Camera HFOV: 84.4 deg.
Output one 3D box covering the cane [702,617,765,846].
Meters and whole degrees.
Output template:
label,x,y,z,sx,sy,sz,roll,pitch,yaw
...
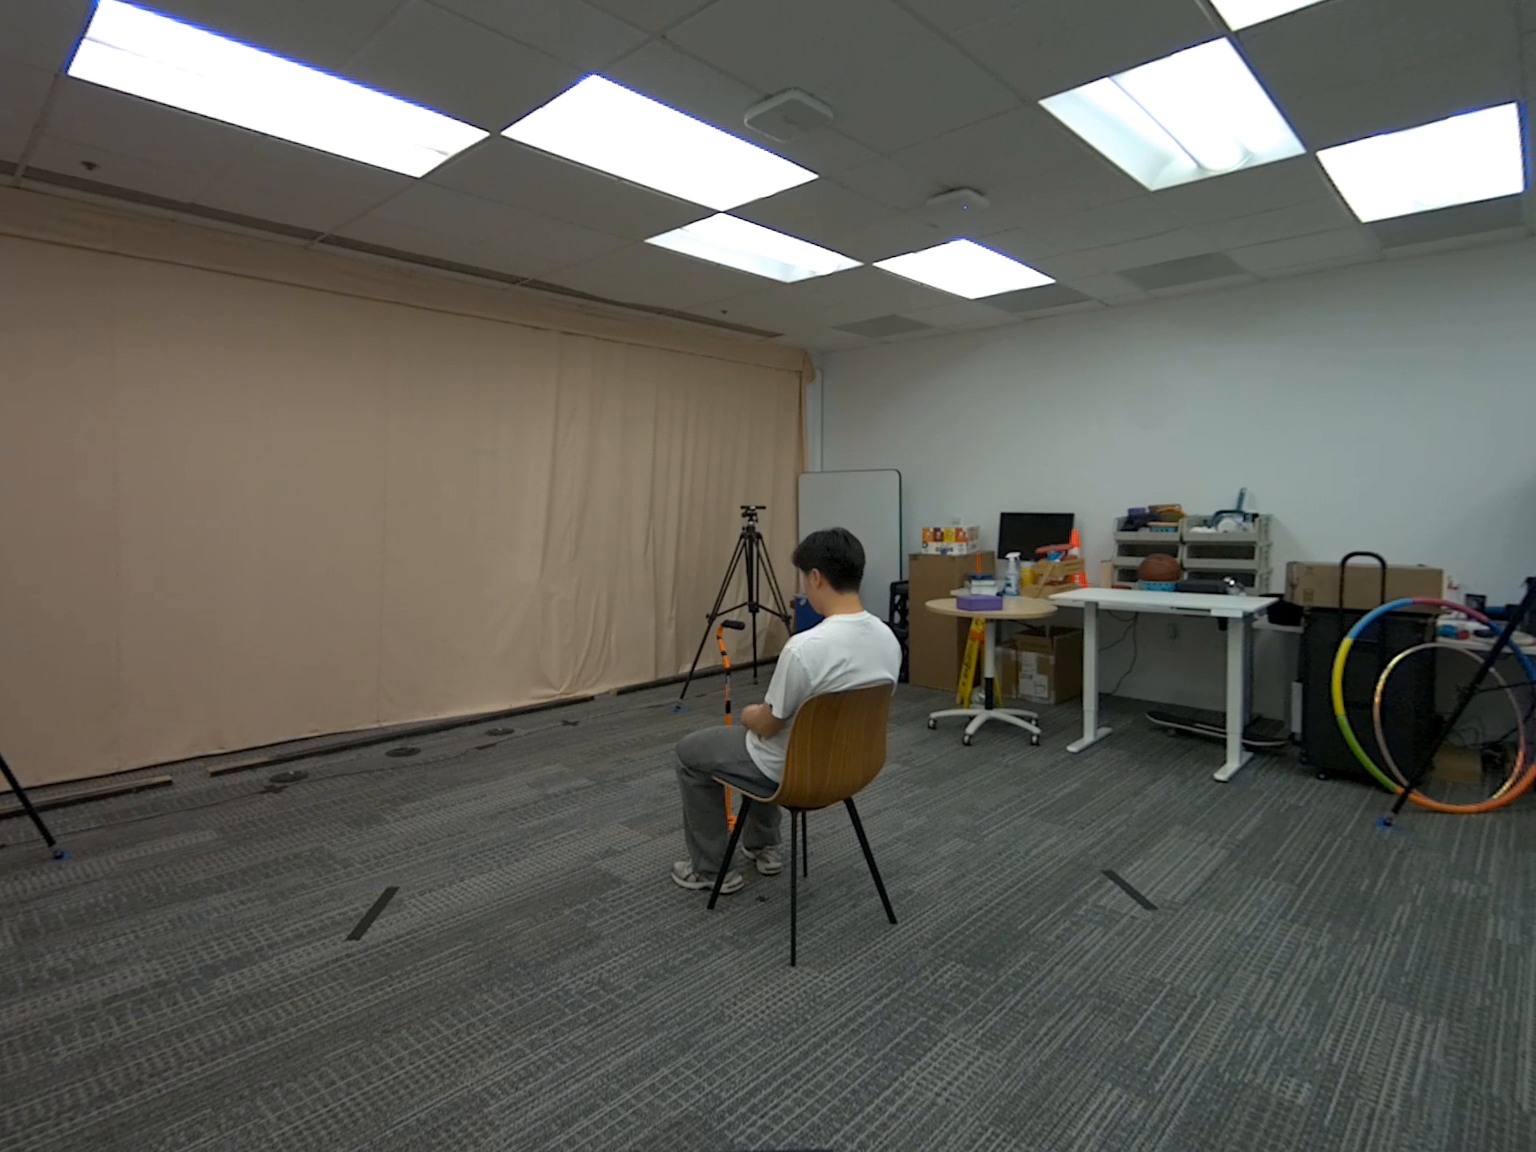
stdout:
label,x,y,z,sx,sy,sz,roll,pitch,yaw
cane,-0.147,0.638,3.572,0.147,0.907,0.213,-2,2,-40
